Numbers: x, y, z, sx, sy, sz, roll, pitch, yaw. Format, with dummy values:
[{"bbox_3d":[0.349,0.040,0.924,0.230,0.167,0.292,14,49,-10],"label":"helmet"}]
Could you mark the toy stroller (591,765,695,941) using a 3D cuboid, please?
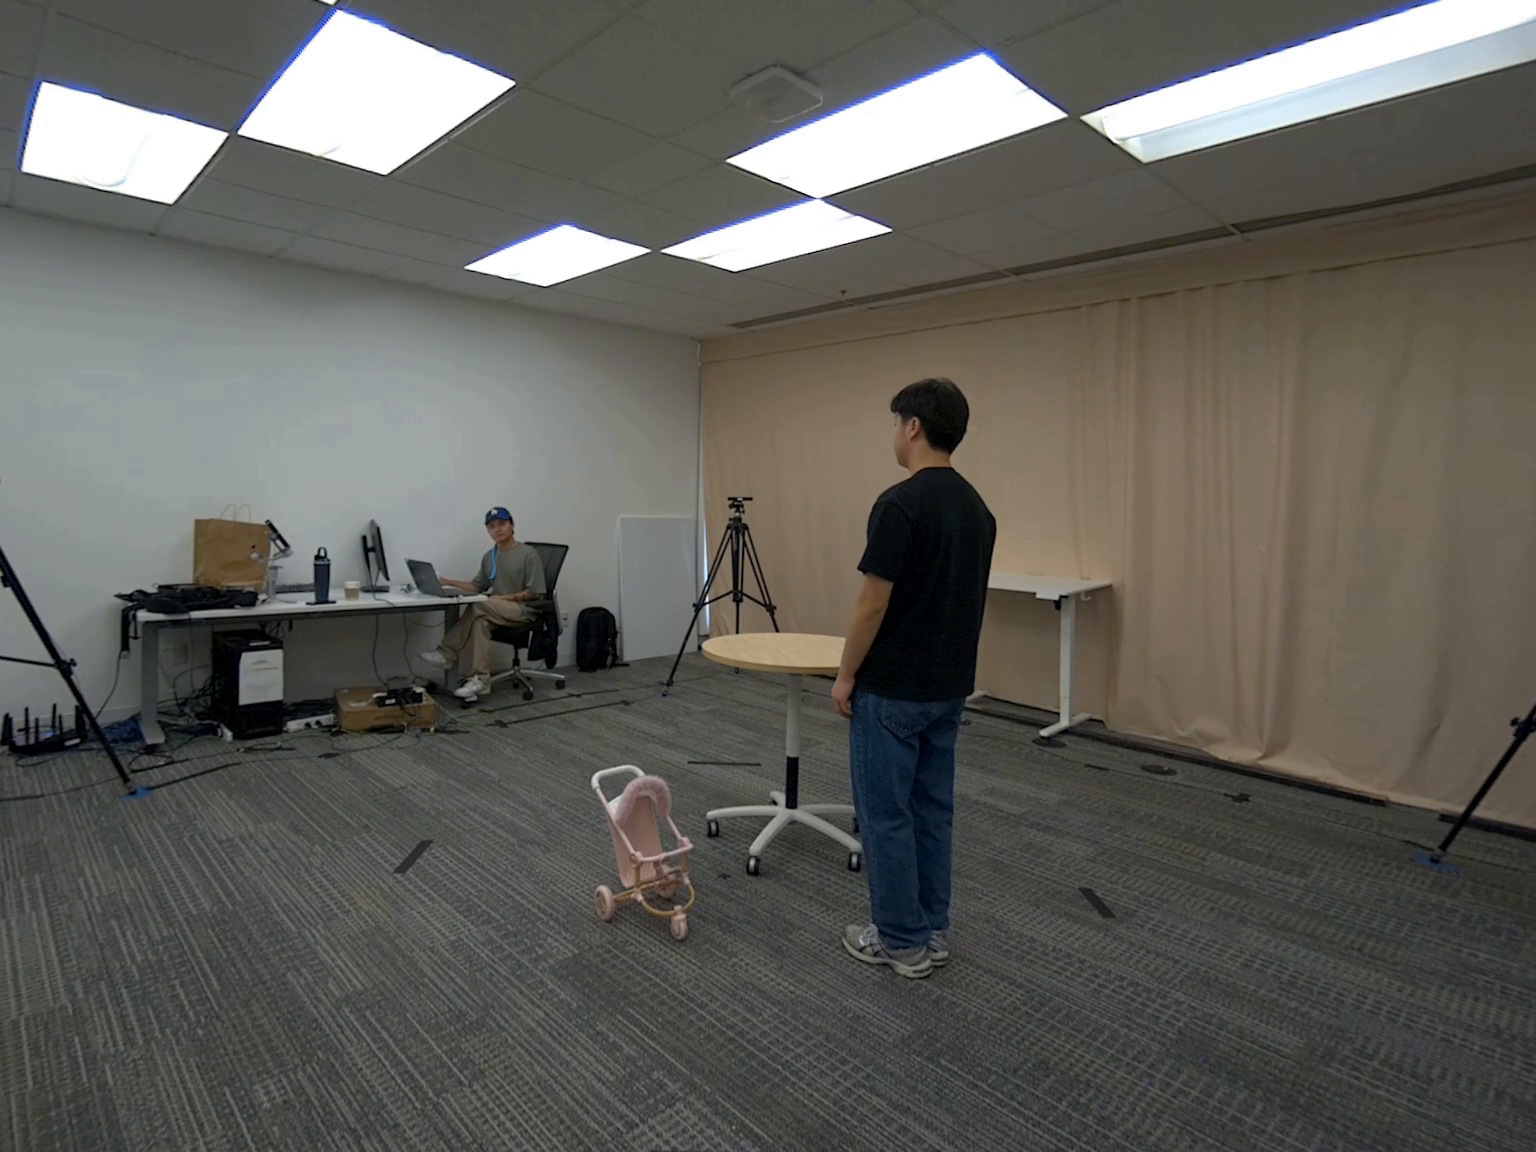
[{"bbox_3d":[-0.412,0.906,2.786,0.275,0.539,0.346,-1,-11,-37],"label":"toy stroller"}]
